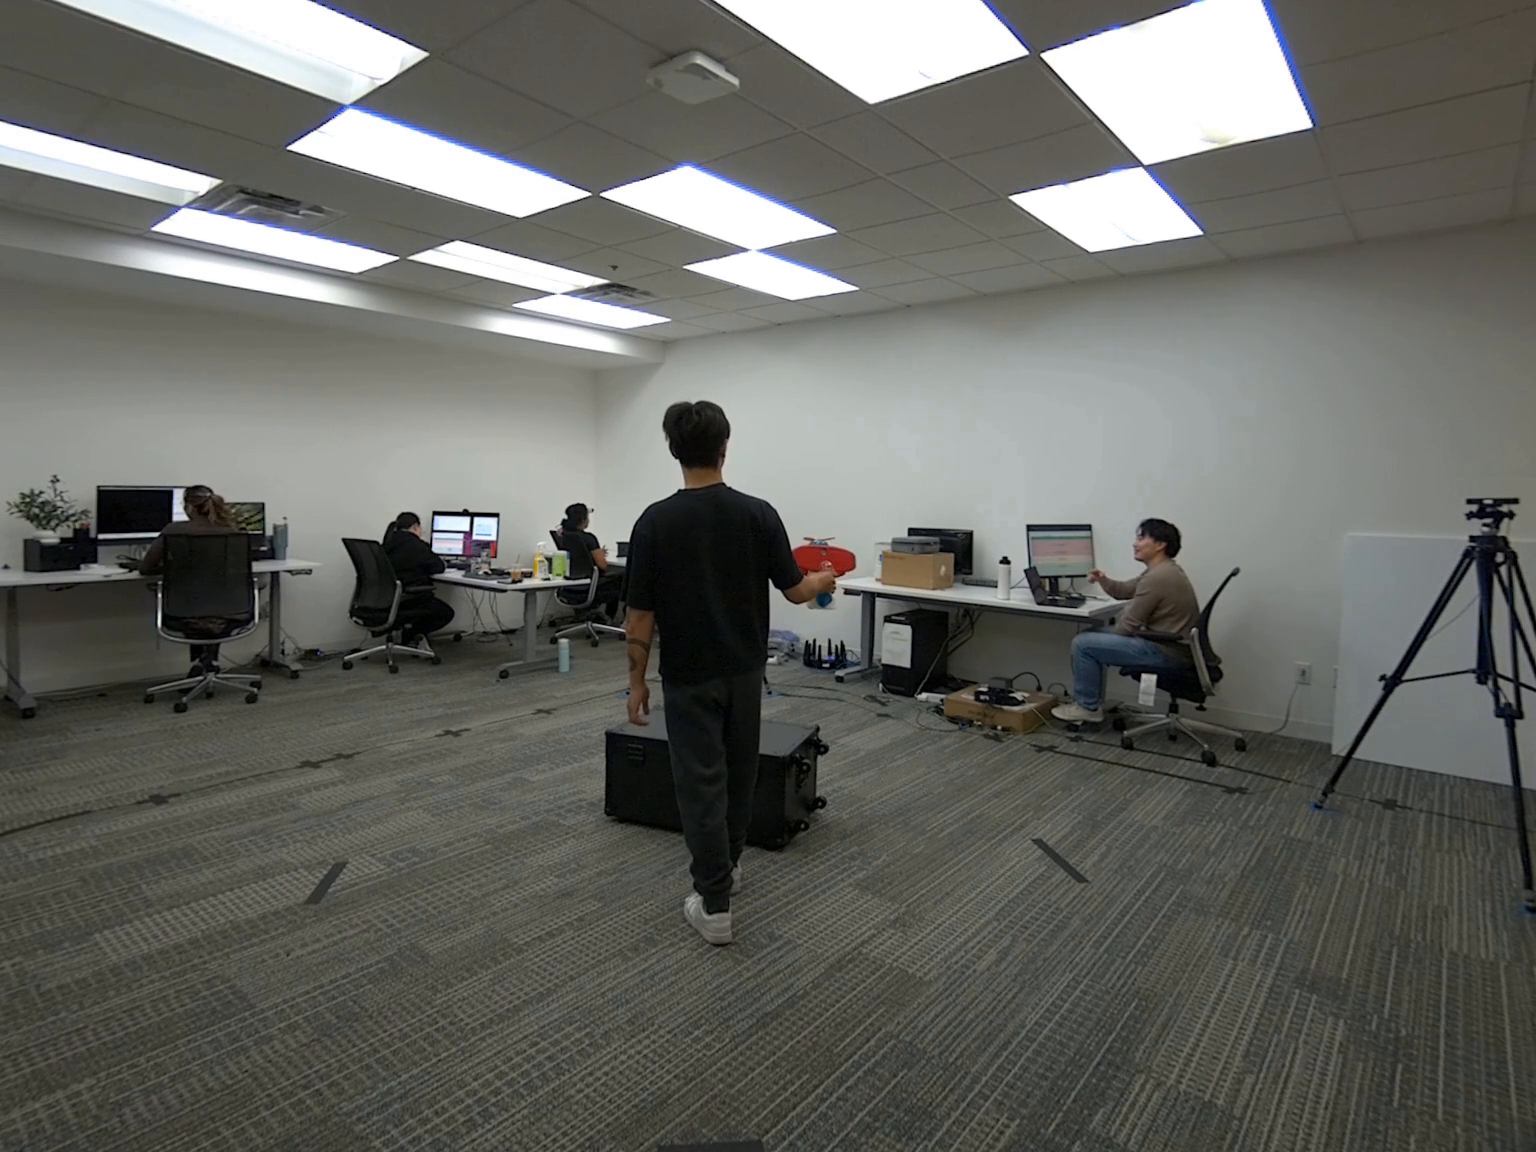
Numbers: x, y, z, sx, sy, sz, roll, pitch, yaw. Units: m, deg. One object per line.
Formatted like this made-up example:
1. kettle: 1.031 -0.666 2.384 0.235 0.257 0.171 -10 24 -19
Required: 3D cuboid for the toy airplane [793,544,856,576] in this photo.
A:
1. toy airplane: 0.188 -0.015 3.060 0.247 0.266 0.155 -25 -20 -32
